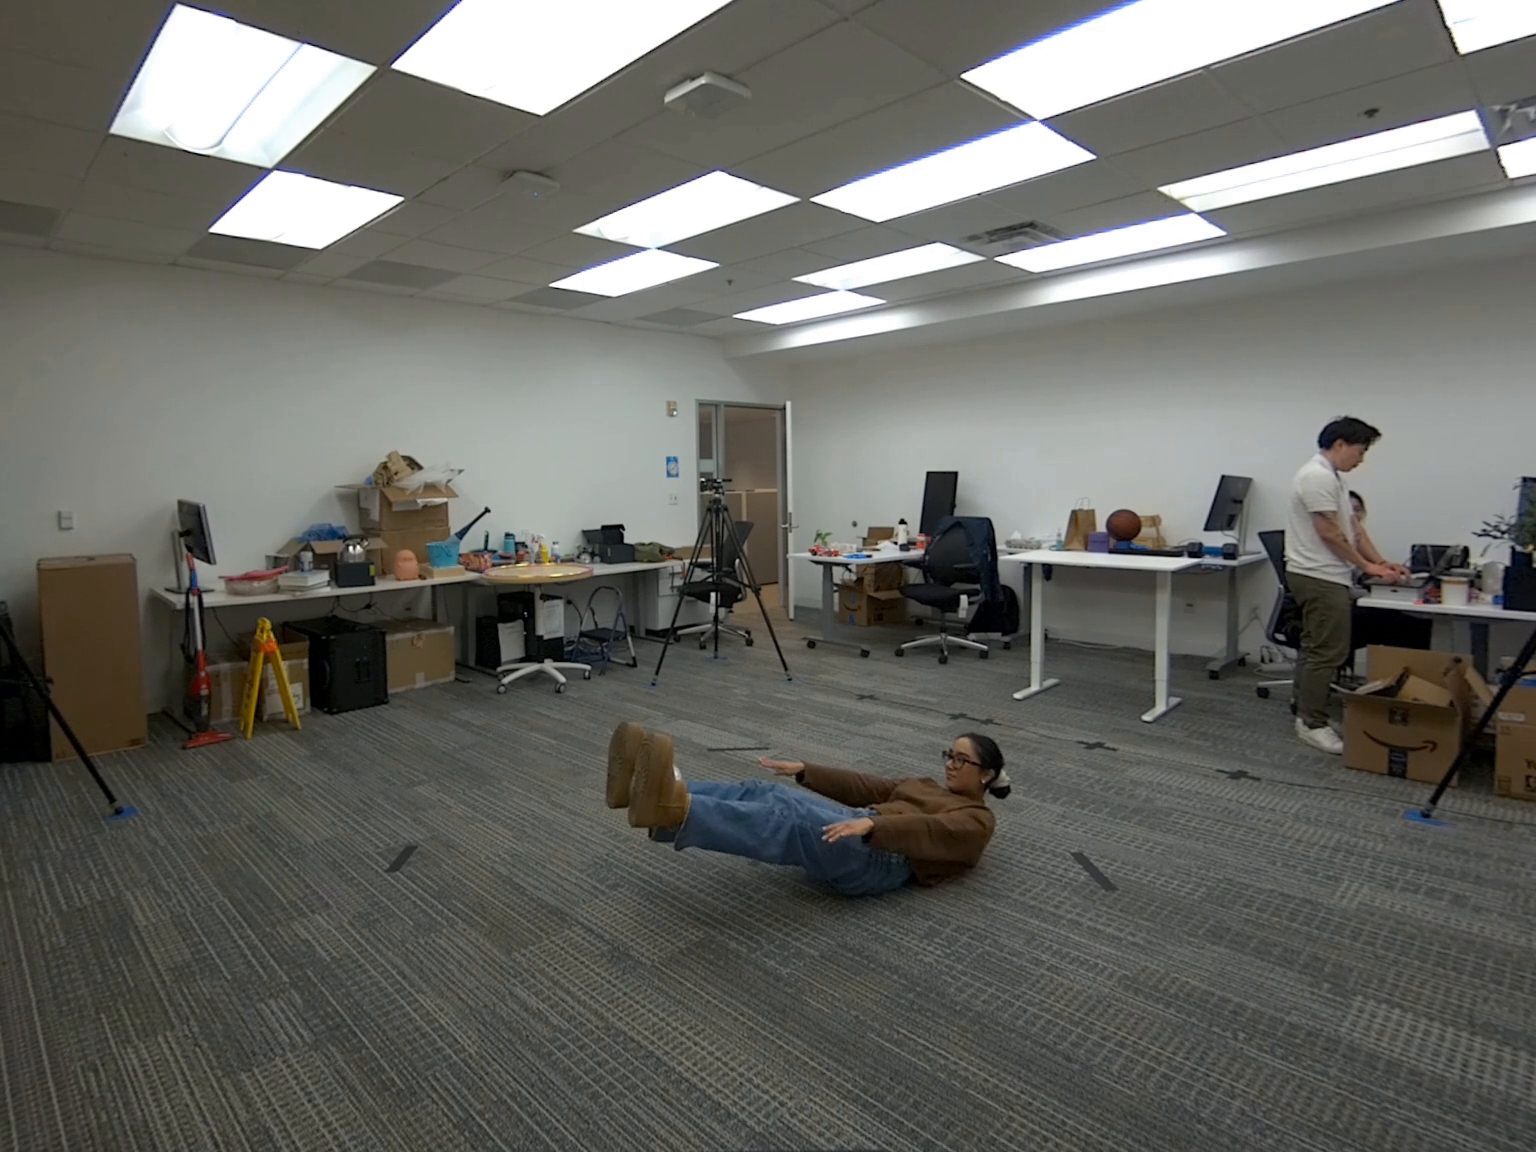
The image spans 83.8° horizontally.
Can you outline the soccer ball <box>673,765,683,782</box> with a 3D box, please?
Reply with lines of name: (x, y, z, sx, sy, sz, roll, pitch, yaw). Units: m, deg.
soccer ball: (-0.336, 0.682, 2.681, 0.187, 0.187, 0.188, -1, 5, -2)
